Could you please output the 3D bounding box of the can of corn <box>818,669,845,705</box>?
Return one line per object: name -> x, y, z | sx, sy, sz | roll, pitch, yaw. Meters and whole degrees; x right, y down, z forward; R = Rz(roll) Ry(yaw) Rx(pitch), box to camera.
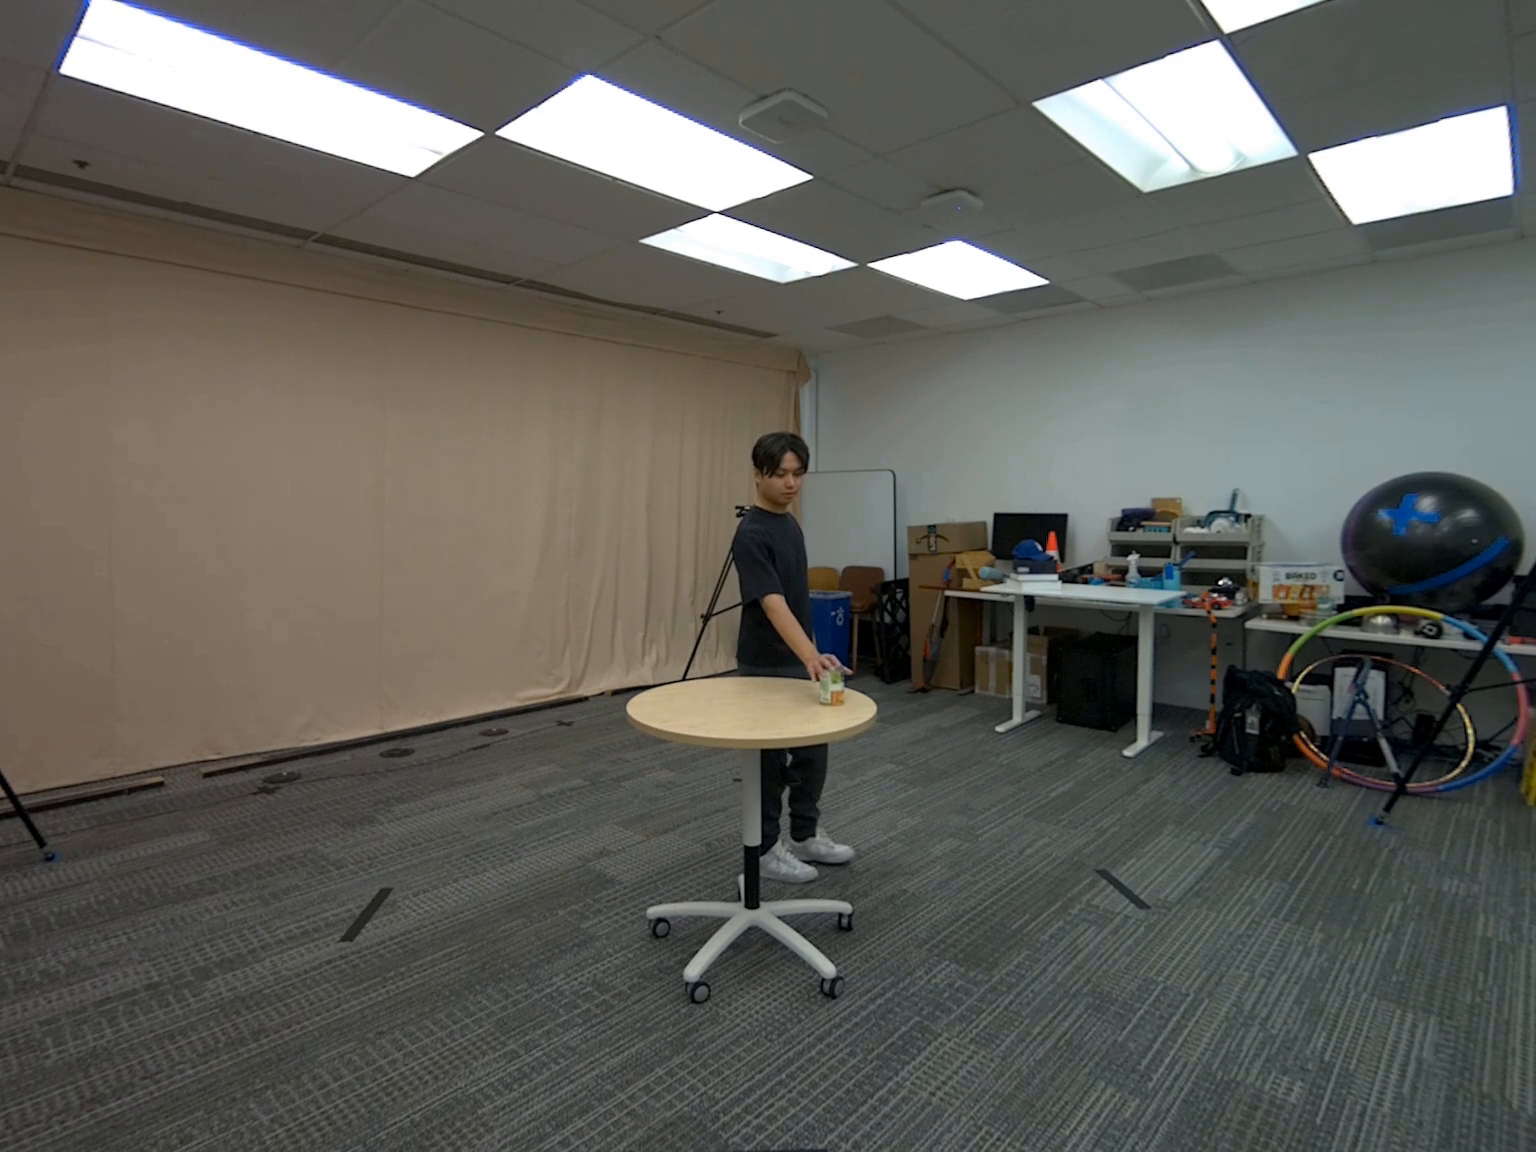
can of corn -> 0.197, 0.335, 2.599 | 0.074, 0.111, 0.074 | 3, 5, -2
